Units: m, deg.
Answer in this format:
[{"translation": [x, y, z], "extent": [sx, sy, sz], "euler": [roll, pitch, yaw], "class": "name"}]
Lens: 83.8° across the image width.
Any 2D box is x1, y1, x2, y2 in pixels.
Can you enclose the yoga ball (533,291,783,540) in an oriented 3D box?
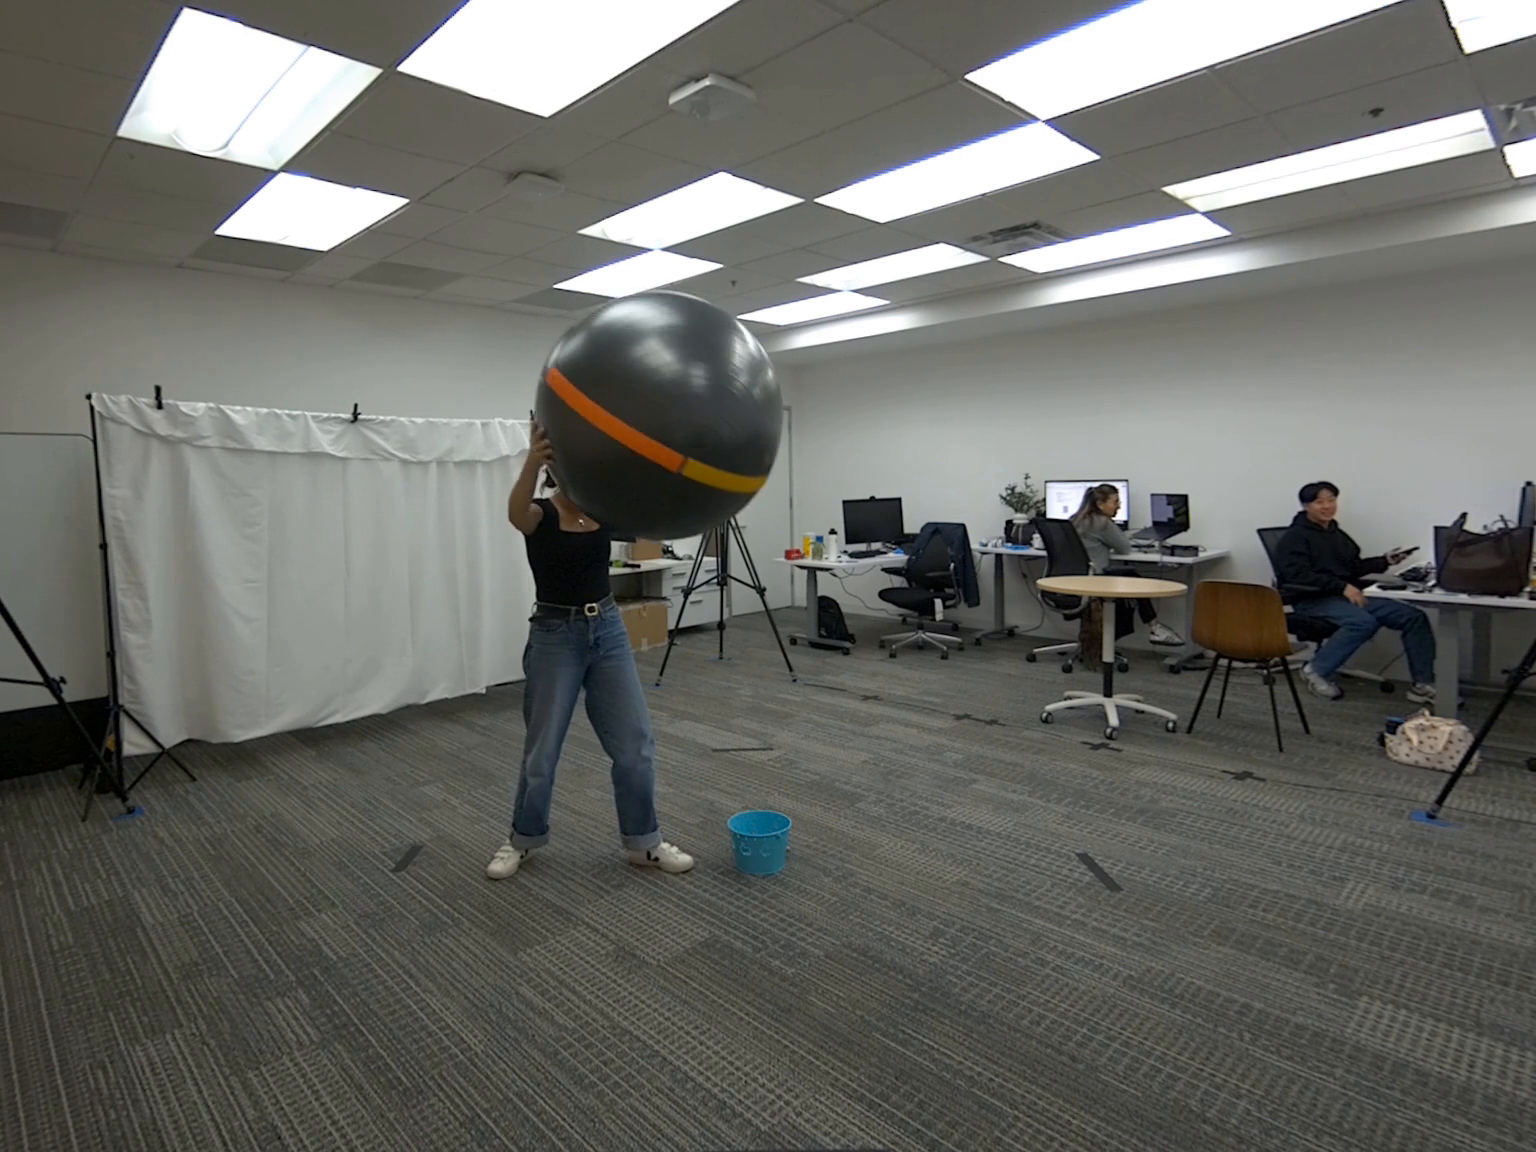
[{"translation": [-0.332, -0.476, 2.646], "extent": [0.757, 0.755, 0.762], "euler": [-1, 5, -2], "class": "yoga ball"}]
